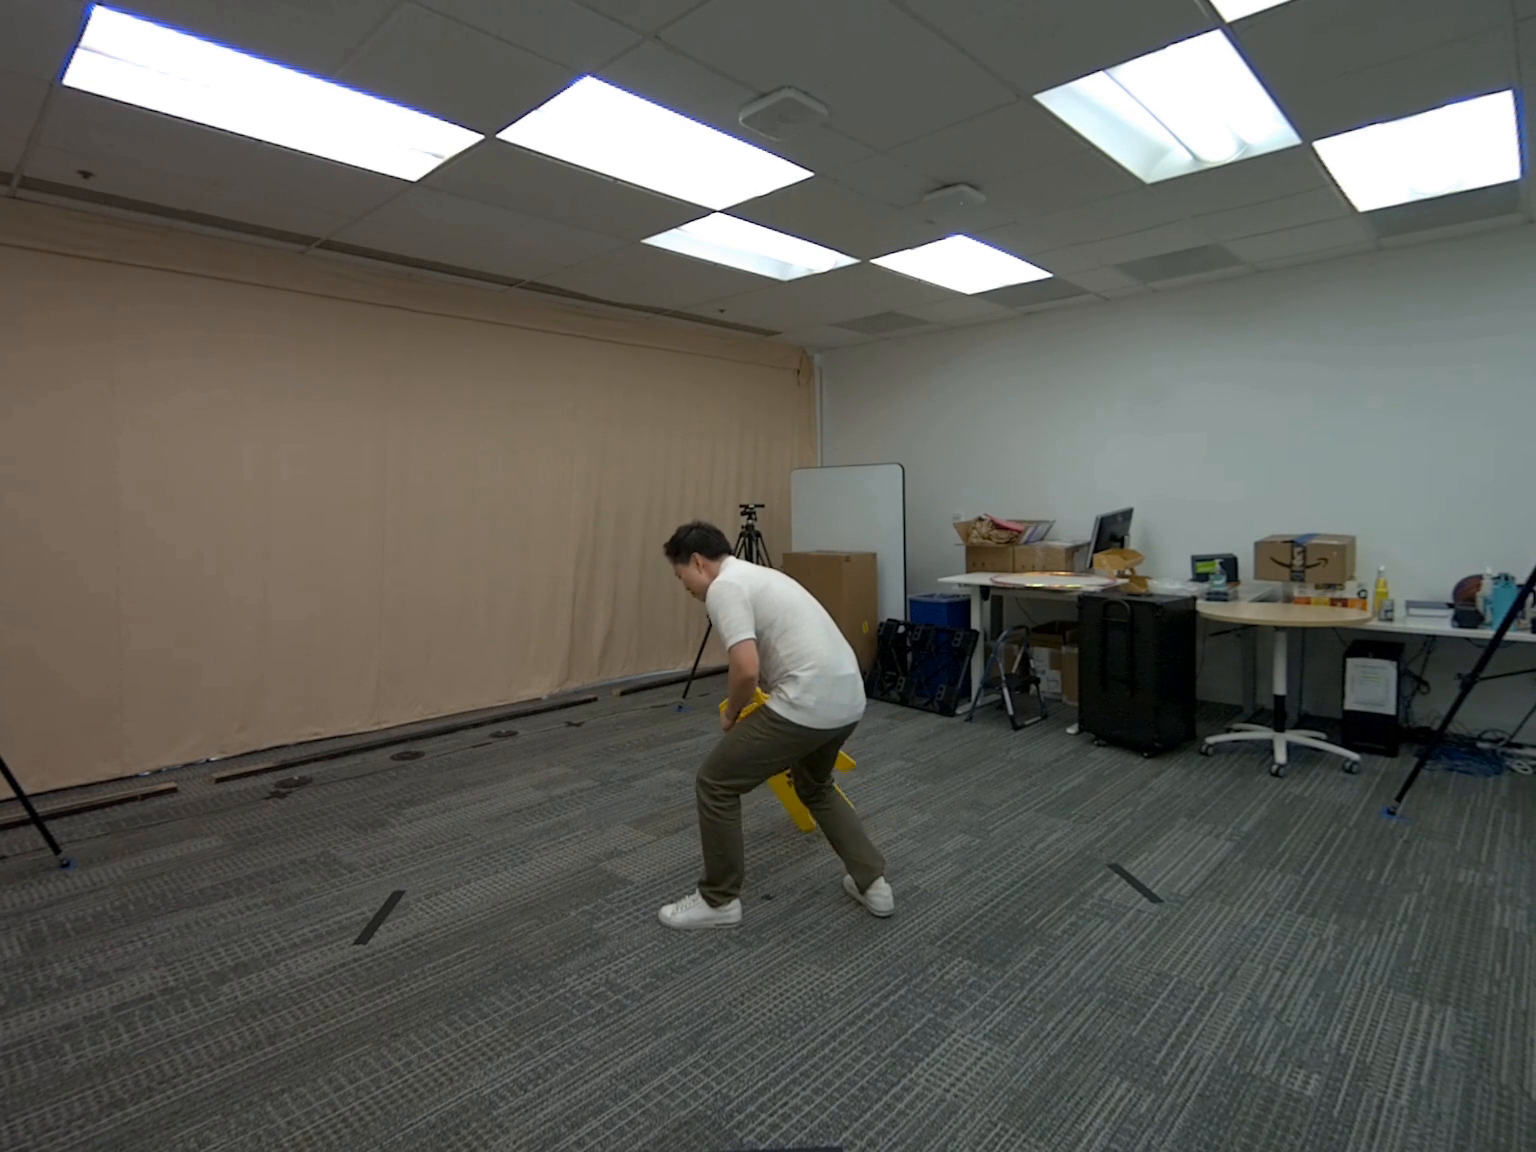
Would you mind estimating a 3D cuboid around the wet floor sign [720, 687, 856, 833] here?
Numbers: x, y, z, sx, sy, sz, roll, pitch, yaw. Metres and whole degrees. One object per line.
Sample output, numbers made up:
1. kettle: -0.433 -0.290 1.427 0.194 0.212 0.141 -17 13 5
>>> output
1. wet floor sign: 0.066 0.732 3.557 0.286 0.635 0.291 -34 16 24
